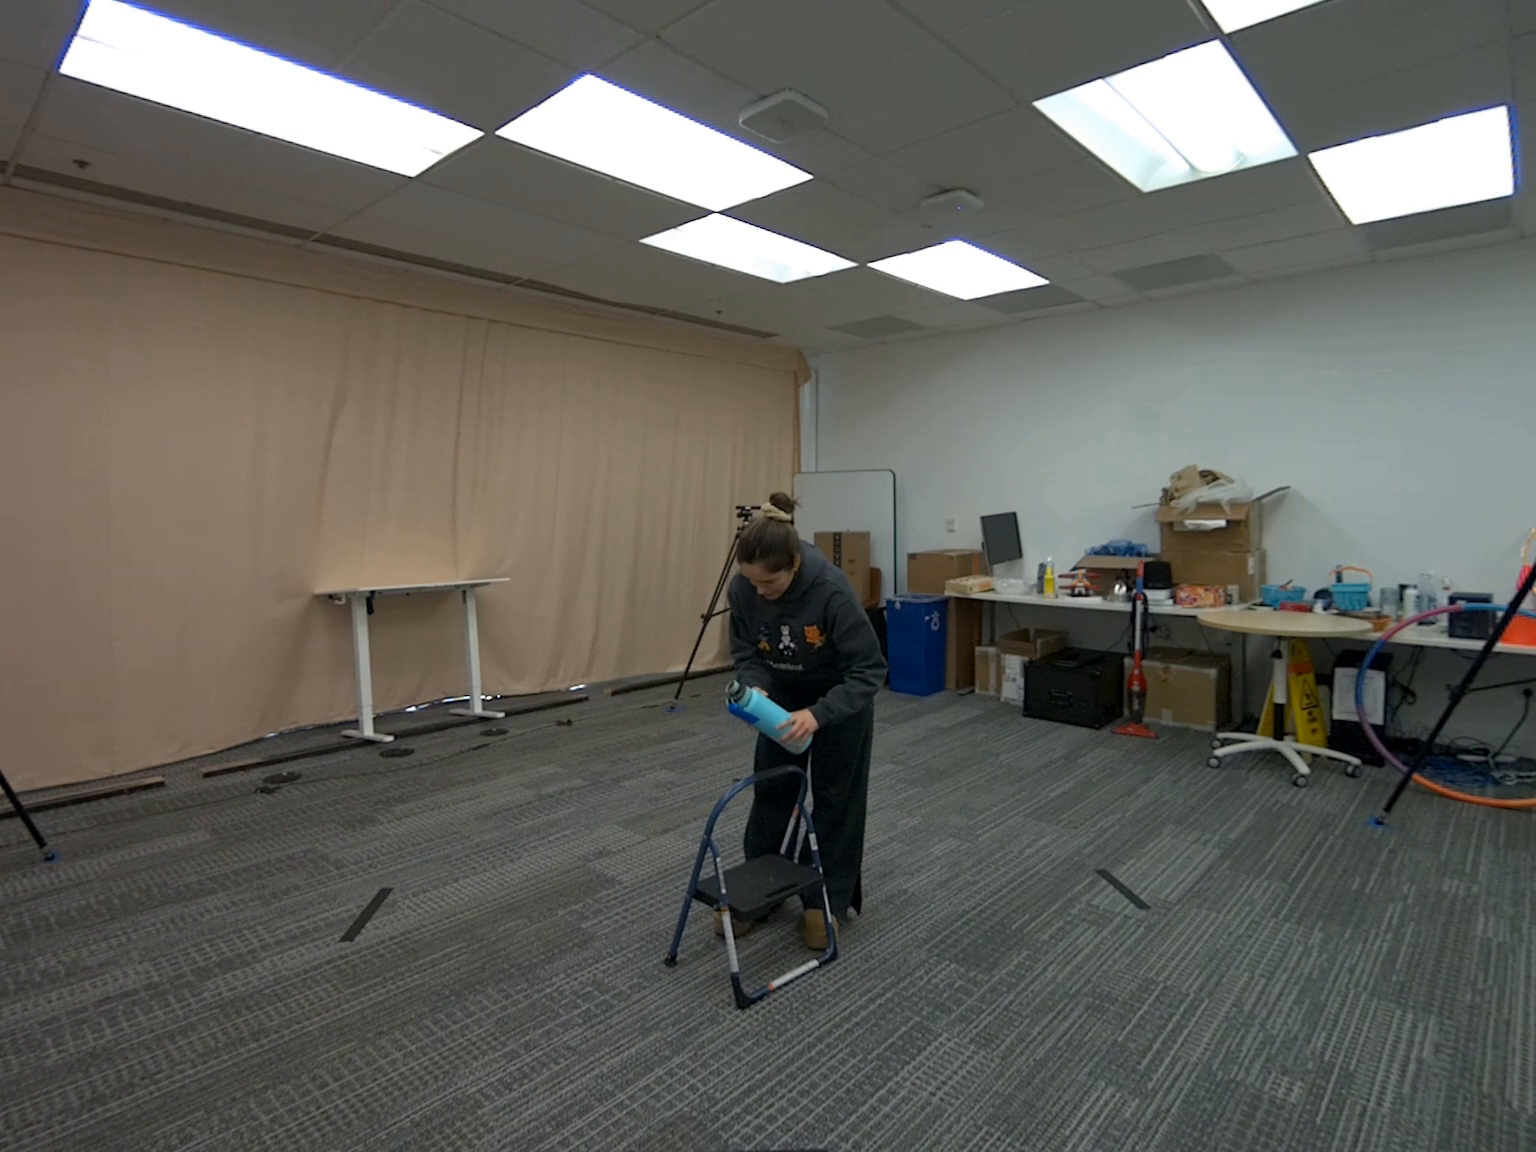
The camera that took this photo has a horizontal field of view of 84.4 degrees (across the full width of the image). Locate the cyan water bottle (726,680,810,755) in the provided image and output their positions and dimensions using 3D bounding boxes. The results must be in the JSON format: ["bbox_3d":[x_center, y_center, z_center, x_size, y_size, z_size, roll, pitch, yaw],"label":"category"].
[{"bbox_3d":[0.016,0.411,2.408,0.276,0.092,0.095,35,-12,-22],"label":"cyan water bottle"}]
